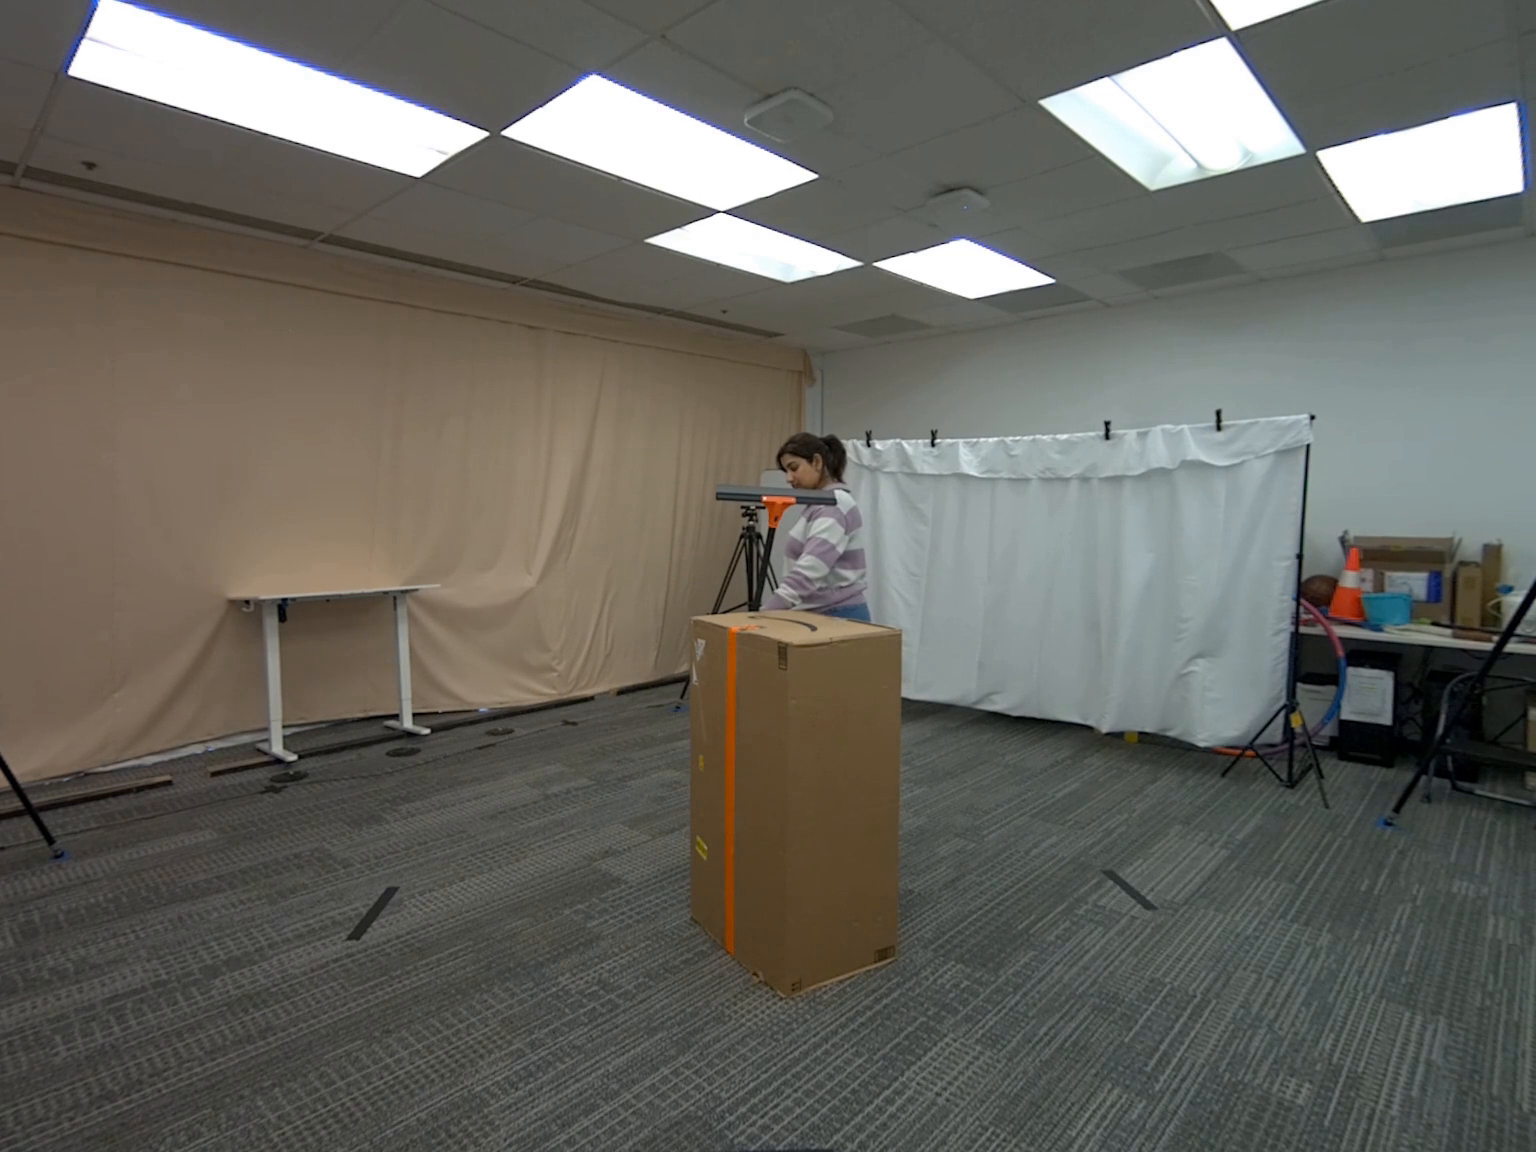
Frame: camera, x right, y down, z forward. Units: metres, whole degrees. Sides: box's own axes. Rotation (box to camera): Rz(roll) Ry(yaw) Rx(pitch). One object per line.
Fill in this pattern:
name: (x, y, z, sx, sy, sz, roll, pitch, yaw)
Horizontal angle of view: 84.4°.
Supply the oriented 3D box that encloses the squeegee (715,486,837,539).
squeegee: (-0.115, 0.411, 3.069, 0.427, 1.526, 0.054, 3, 23, -24)
